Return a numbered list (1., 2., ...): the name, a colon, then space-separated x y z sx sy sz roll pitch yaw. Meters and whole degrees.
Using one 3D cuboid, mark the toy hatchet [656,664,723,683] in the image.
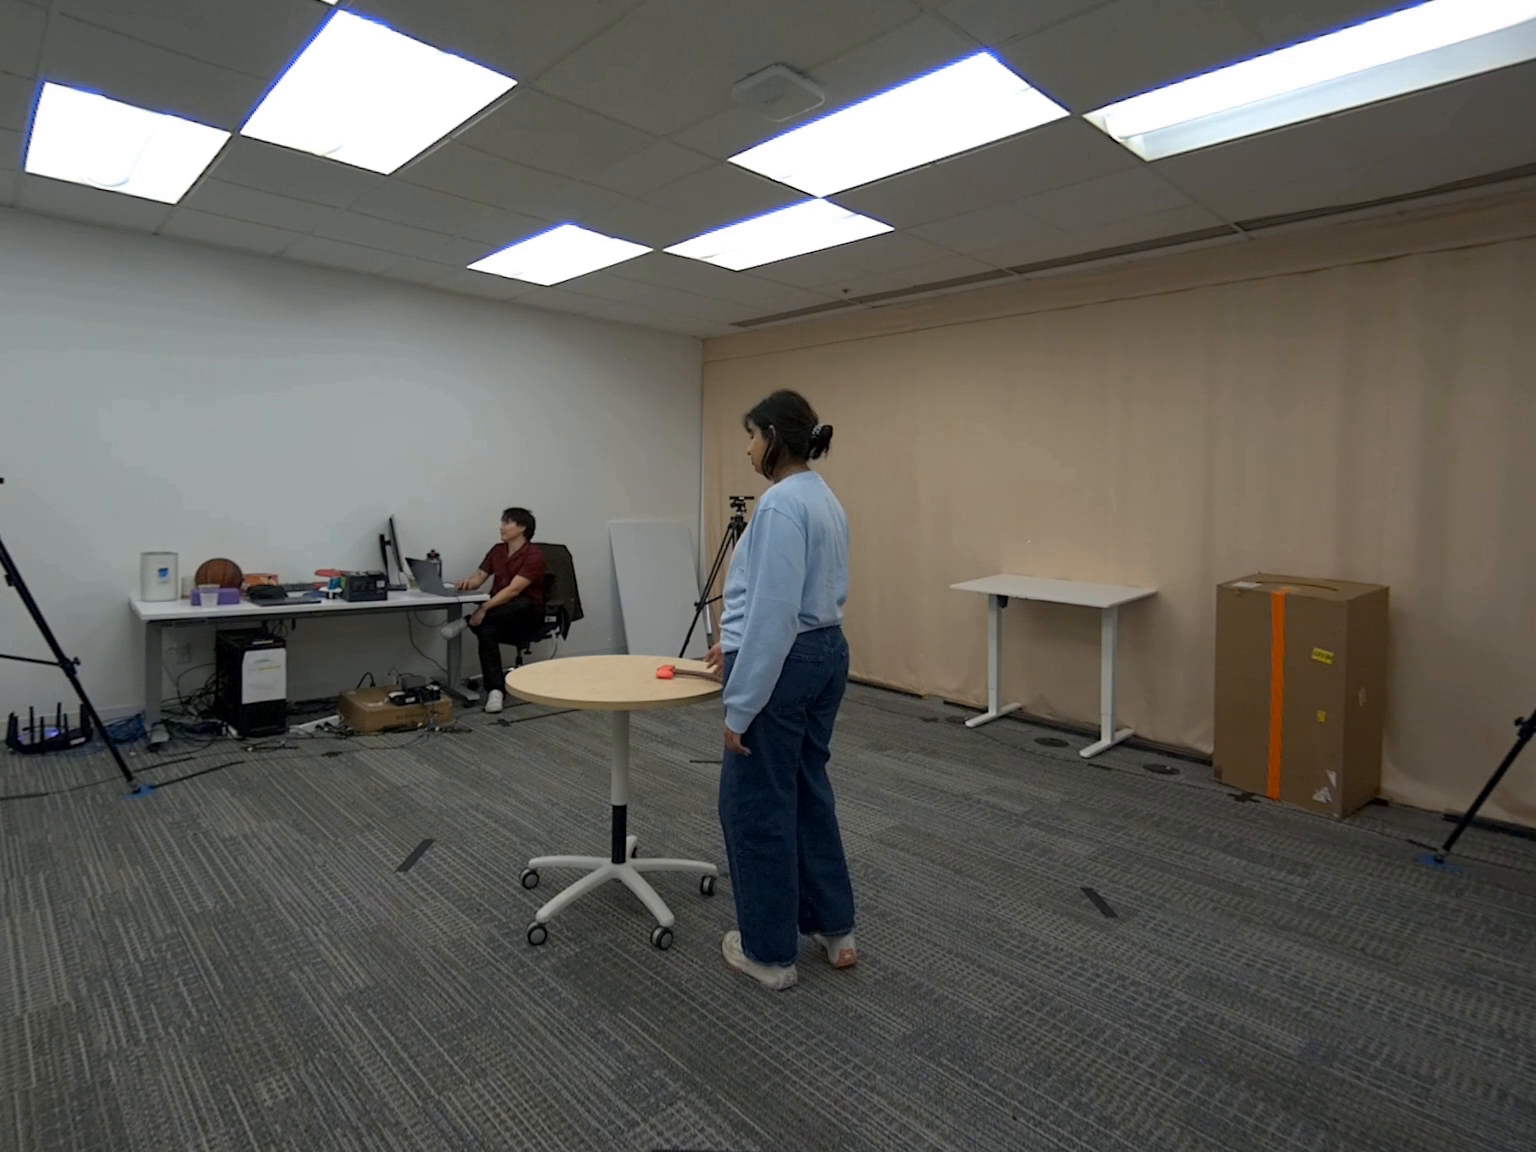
1. toy hatchet: -0.273 0.333 2.792 0.277 0.029 0.128 7 7 40
